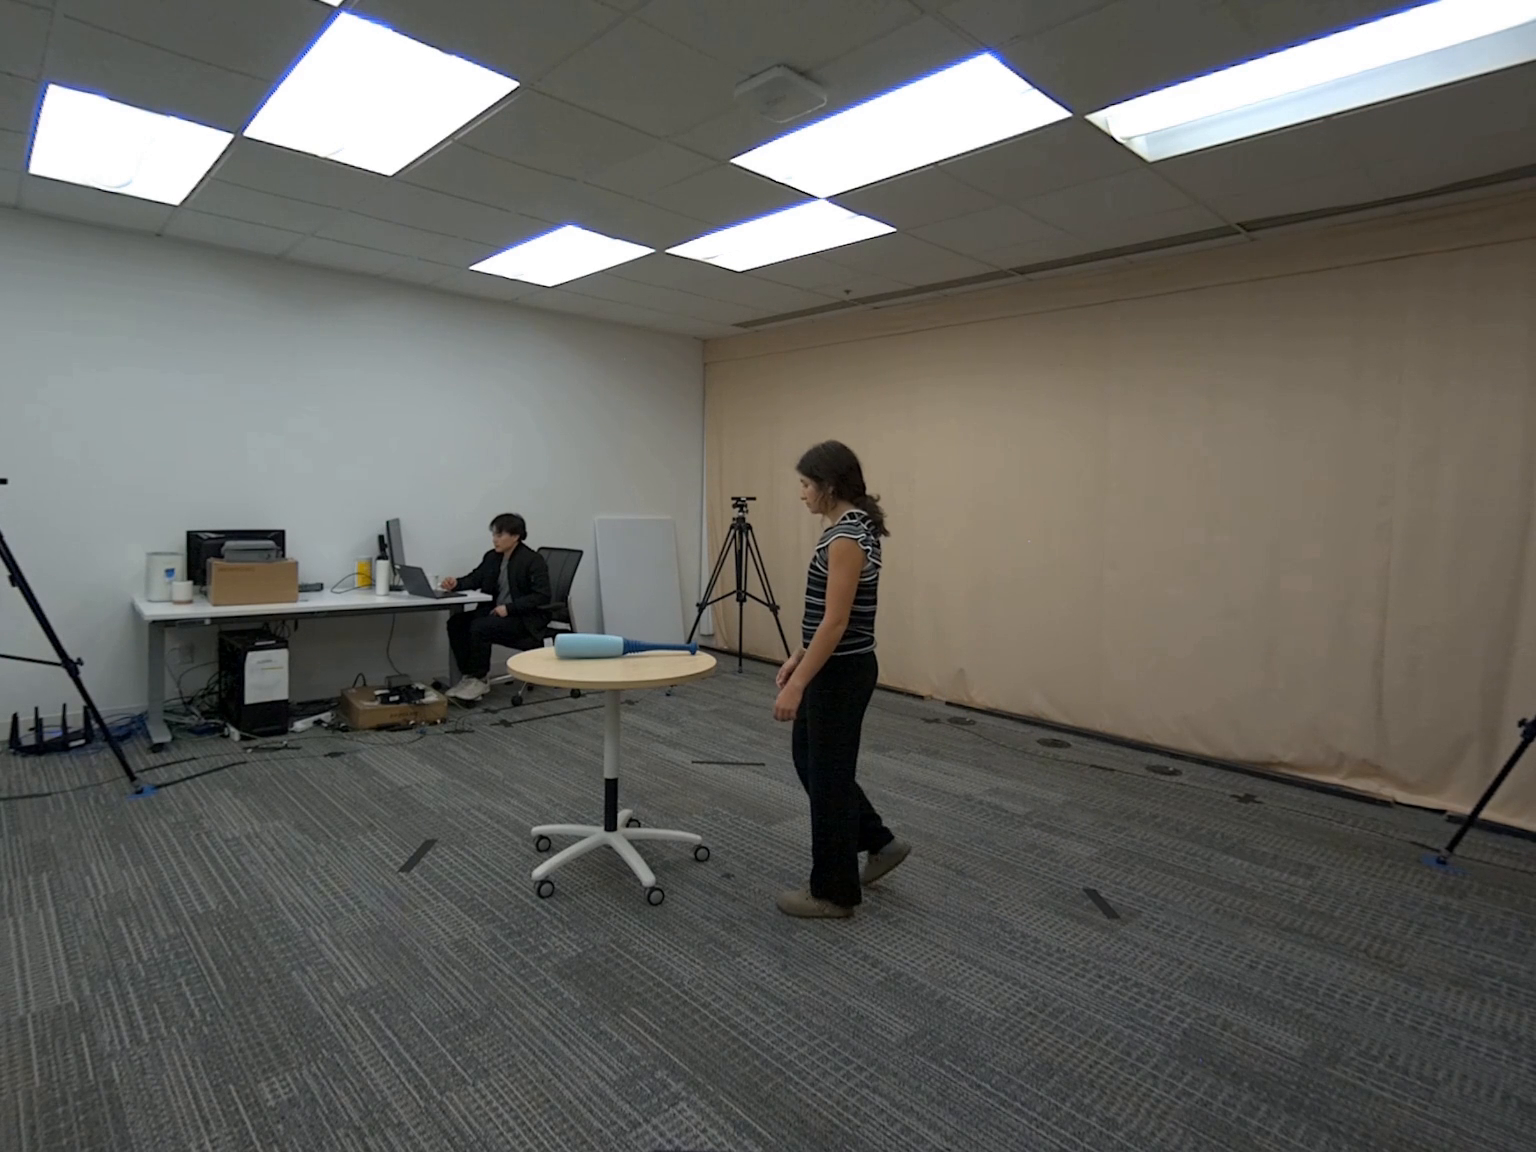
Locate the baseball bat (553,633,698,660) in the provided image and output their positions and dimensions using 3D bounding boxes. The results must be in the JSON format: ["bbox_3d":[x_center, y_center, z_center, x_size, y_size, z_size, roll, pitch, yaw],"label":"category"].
[{"bbox_3d":[-0.540,0.271,3.196,0.535,0.089,0.090,2,4,-18],"label":"baseball bat"}]
